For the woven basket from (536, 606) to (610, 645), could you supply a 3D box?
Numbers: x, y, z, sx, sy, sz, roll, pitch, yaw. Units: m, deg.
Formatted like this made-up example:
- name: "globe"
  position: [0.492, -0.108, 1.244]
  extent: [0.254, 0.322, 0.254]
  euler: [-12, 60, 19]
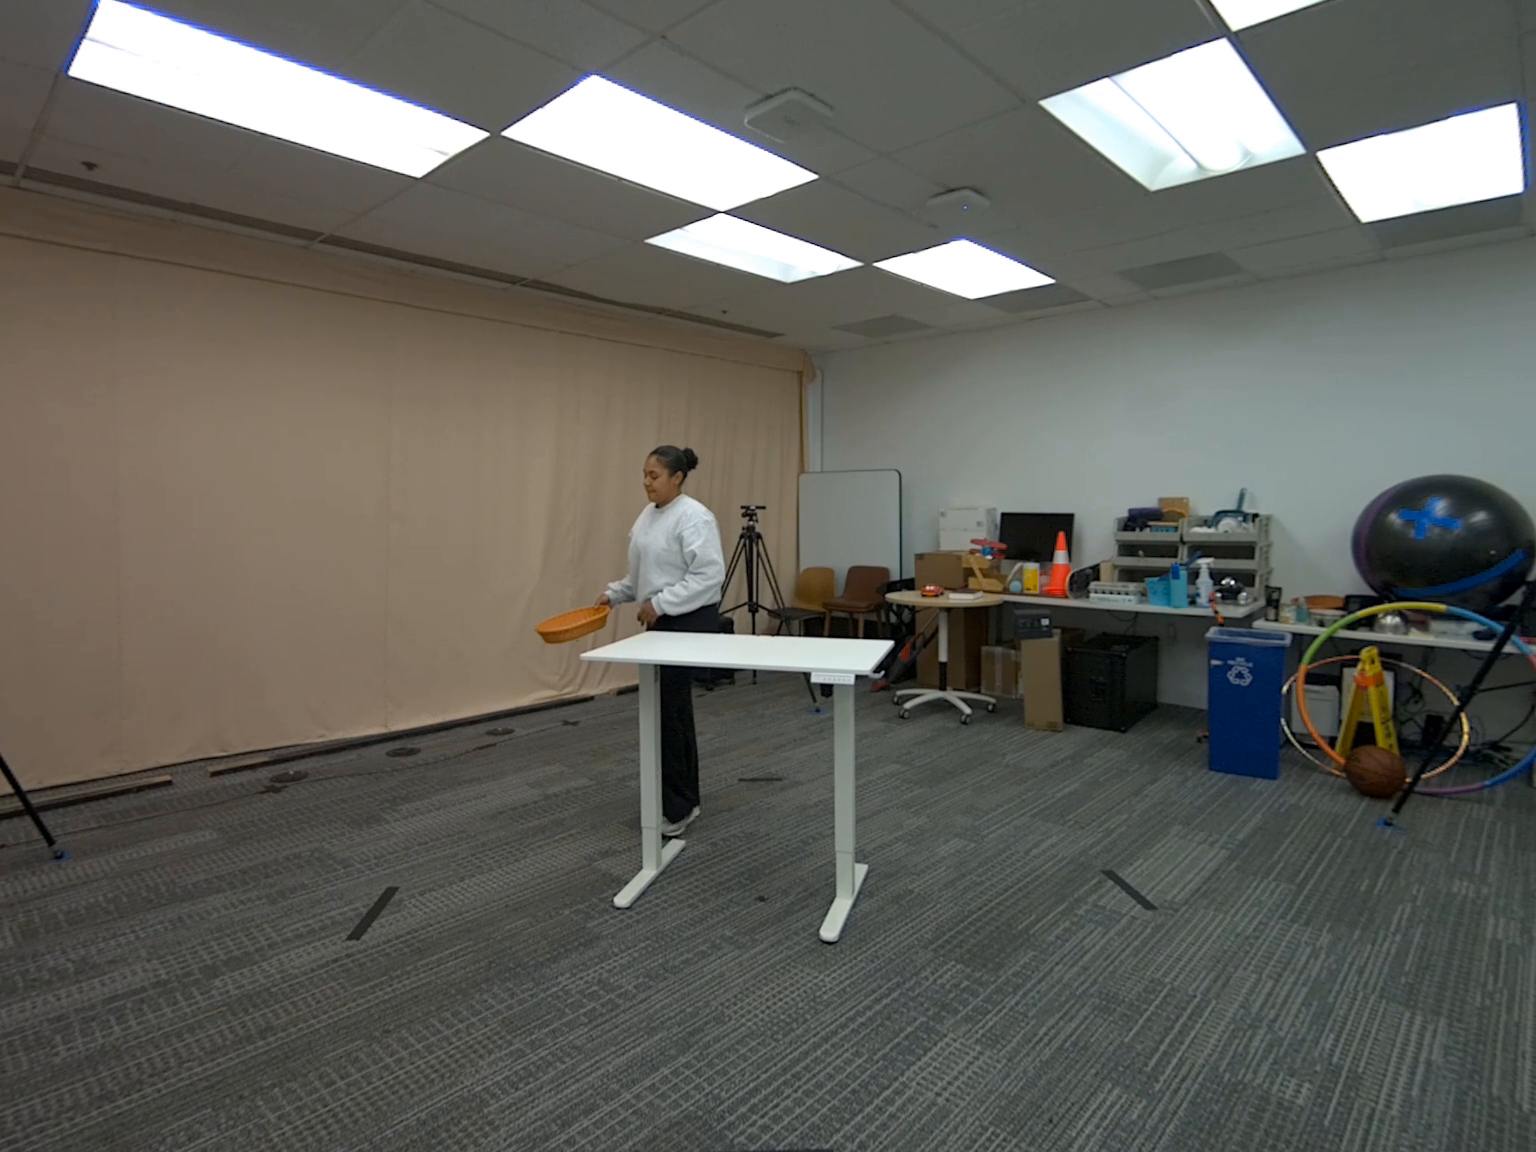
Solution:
- name: "woven basket"
  position: [-0.834, 0.218, 3.623]
  extent: [0.342, 0.073, 0.260]
  euler: [-16, 14, -31]
